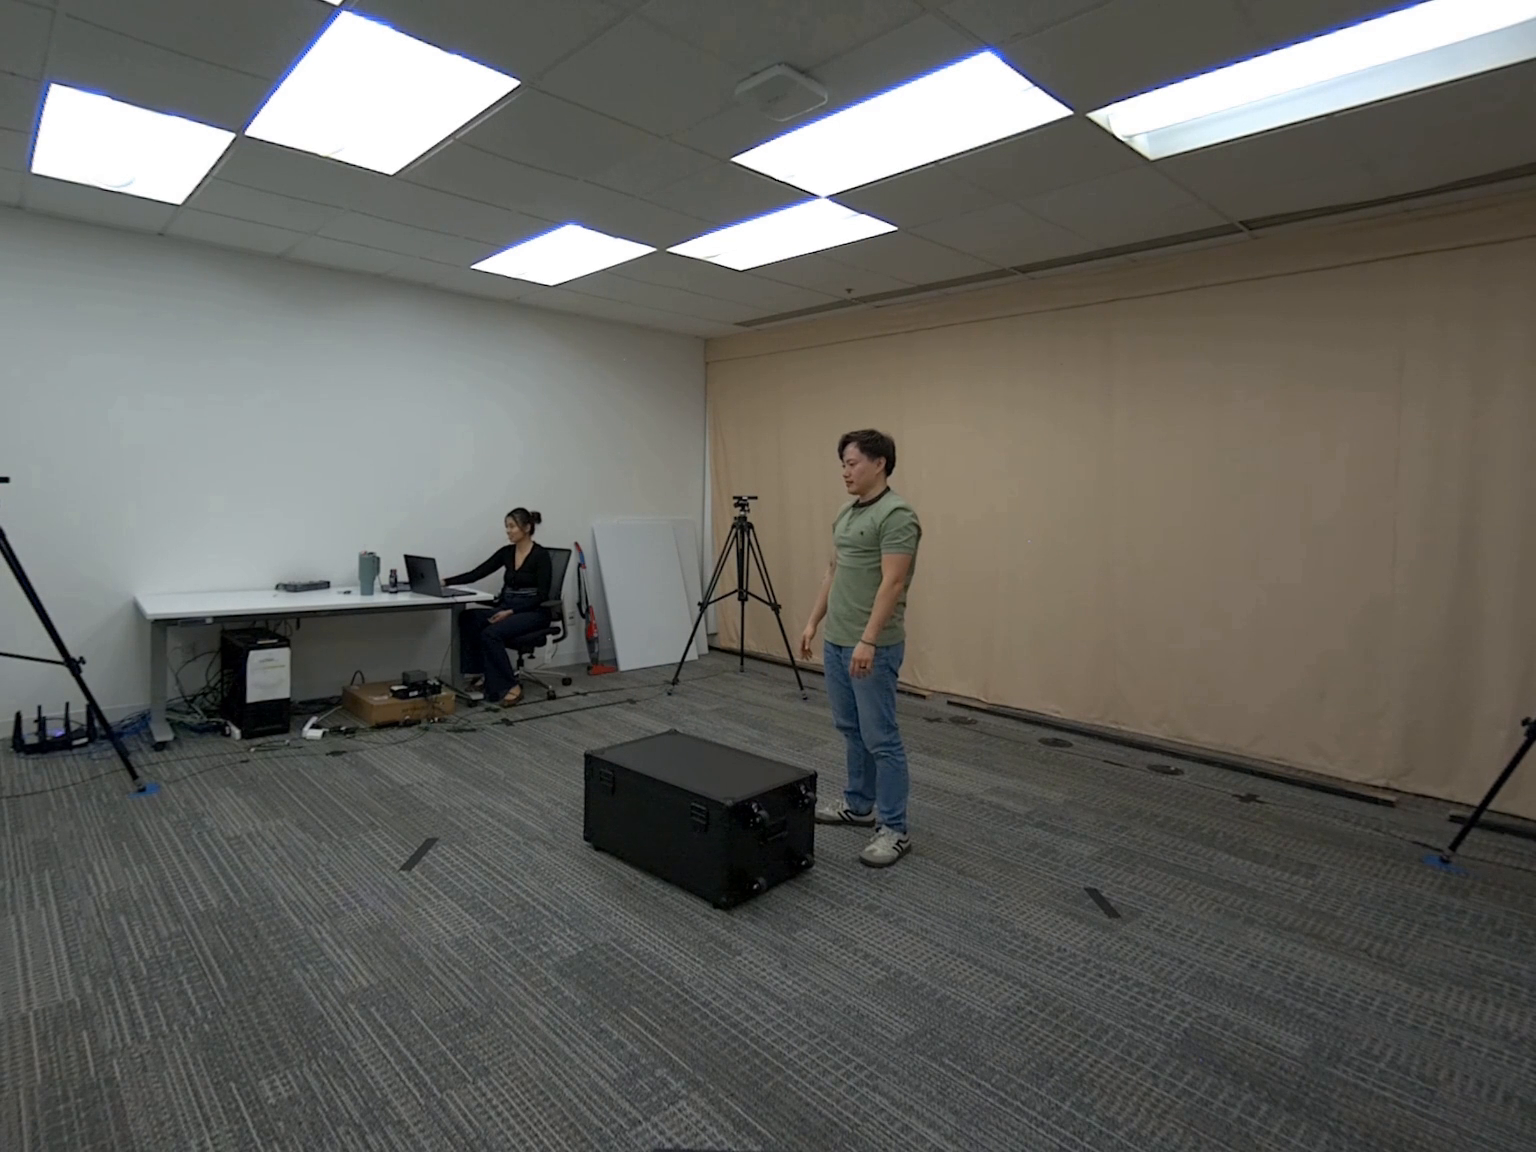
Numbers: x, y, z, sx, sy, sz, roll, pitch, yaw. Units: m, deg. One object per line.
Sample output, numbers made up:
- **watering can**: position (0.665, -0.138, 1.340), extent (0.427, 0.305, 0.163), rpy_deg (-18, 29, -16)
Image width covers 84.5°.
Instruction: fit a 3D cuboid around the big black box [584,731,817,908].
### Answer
- **big black box**: position (-0.258, 0.903, 3.198), extent (0.883, 0.395, 0.509), rpy_deg (4, 5, 41)
